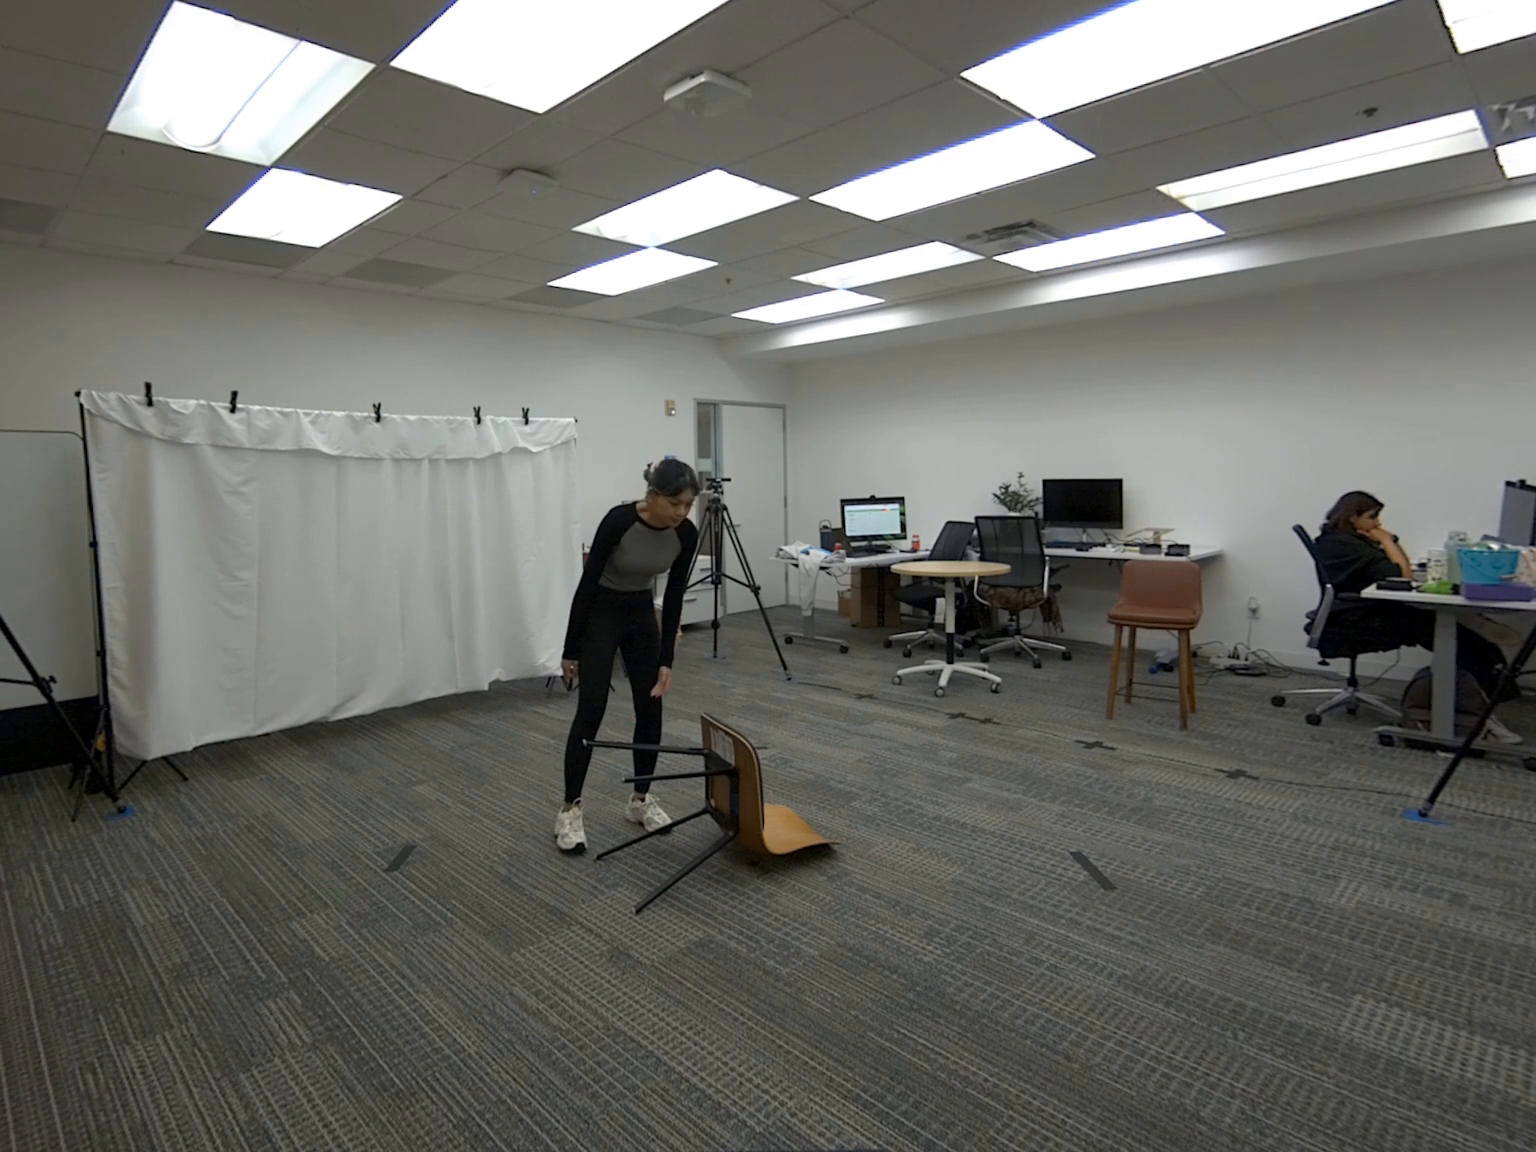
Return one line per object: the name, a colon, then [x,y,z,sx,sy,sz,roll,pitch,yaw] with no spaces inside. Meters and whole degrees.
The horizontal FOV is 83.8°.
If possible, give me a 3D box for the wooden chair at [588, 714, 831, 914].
wooden chair: [-0.174,0.782,3.108,0.858,0.521,0.490,-3,6,-26]
